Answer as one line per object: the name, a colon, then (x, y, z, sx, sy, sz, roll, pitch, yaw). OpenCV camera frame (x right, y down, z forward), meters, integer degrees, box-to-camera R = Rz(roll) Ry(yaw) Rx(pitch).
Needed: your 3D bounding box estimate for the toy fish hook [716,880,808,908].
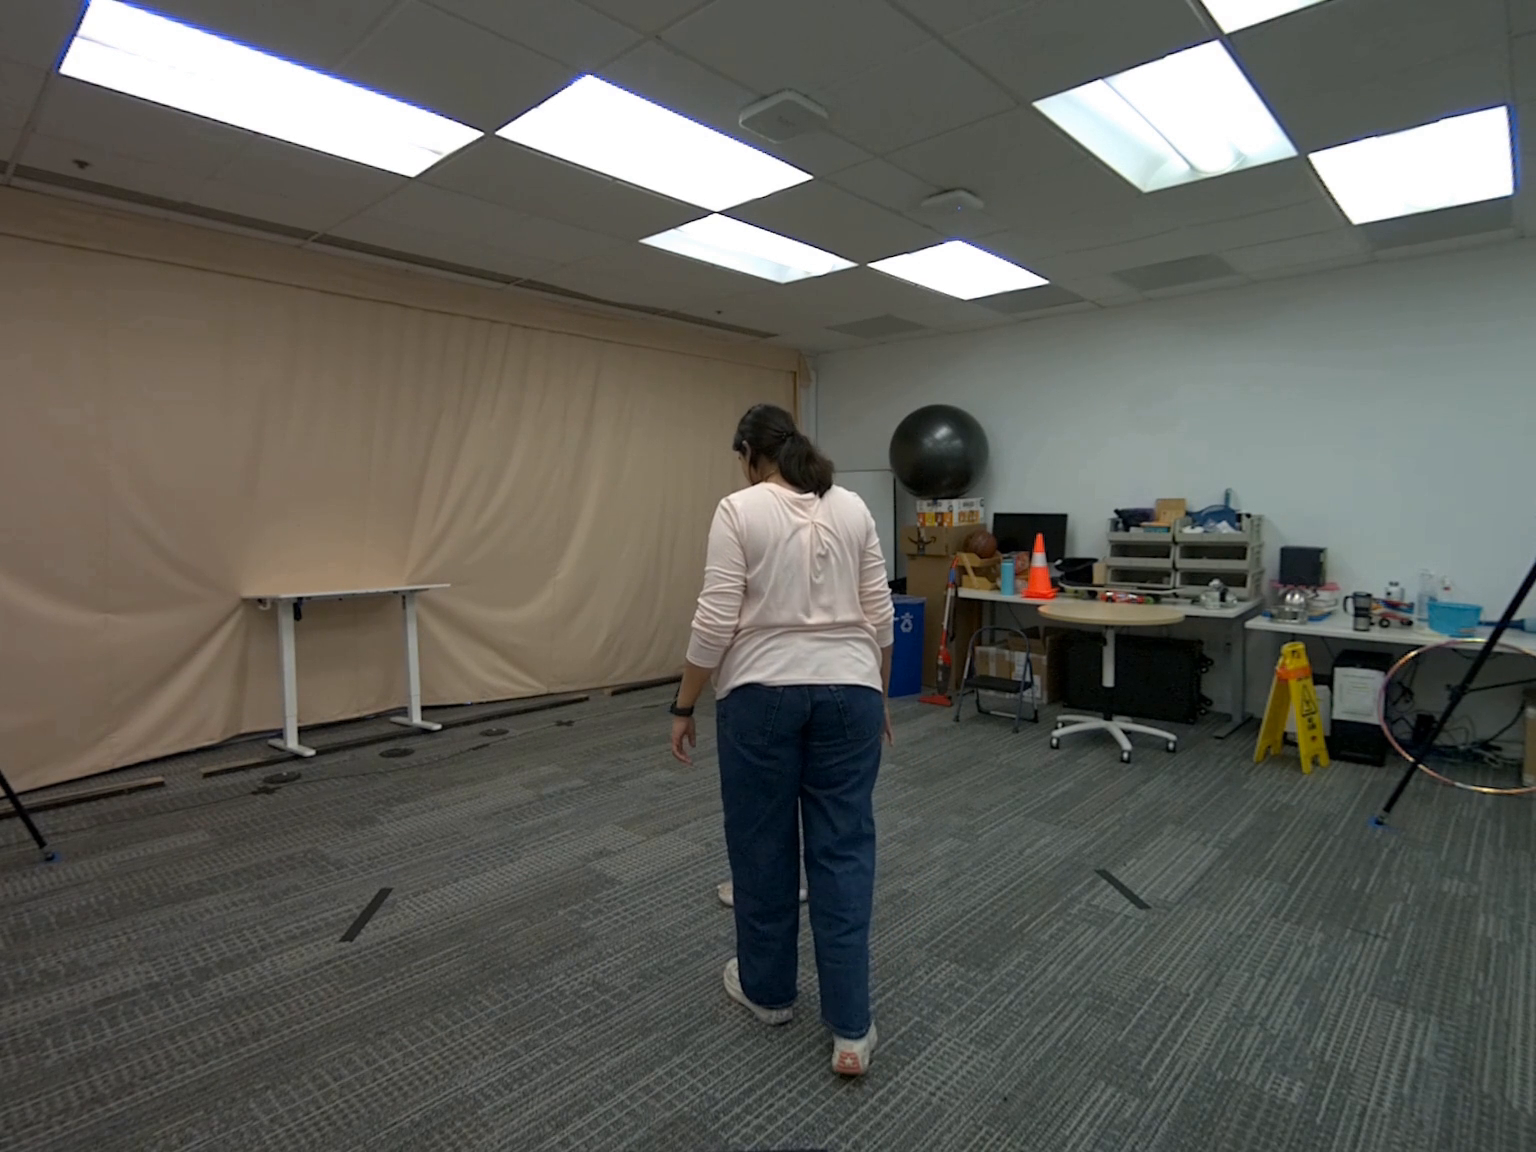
toy fish hook: (0.081, 1.117, 3.008, 0.505, 0.048, 0.226, 0, 6, -3)
